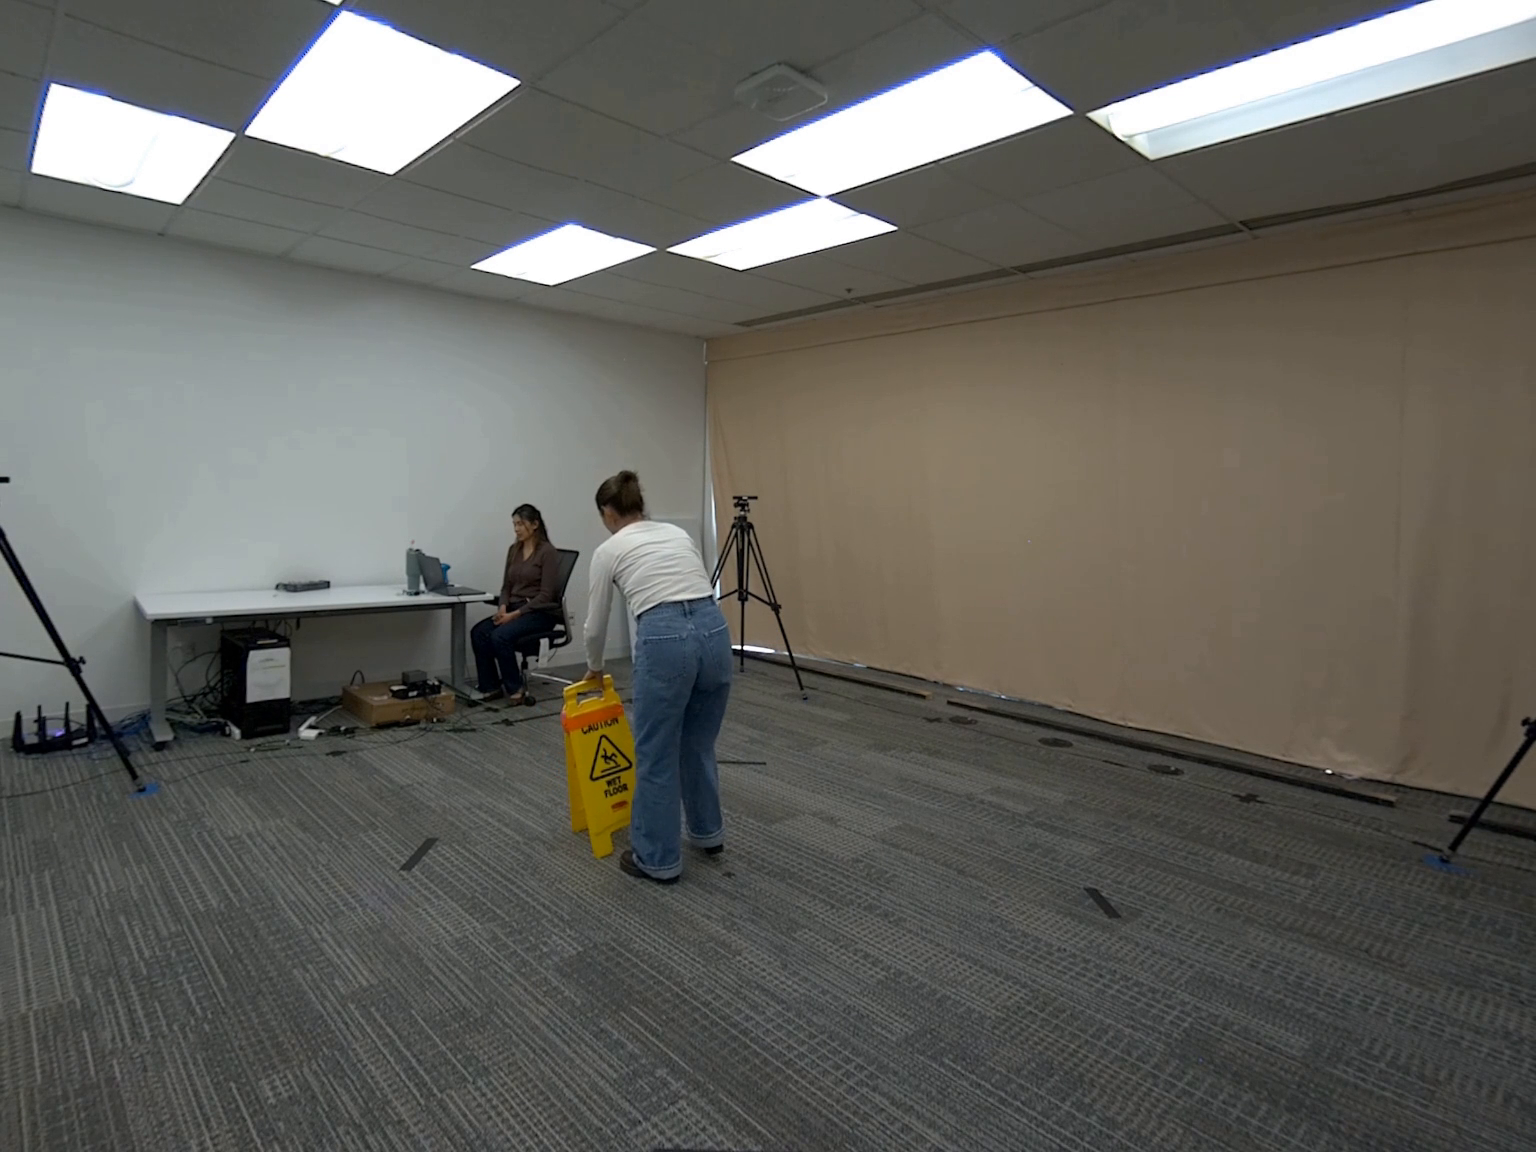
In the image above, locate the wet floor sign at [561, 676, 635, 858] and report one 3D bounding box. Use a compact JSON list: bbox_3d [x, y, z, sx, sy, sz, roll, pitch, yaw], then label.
[{"bbox_3d":[-0.673,0.728,3.363,0.278,0.641,0.296,-14,11,-27],"label":"wet floor sign"}]
